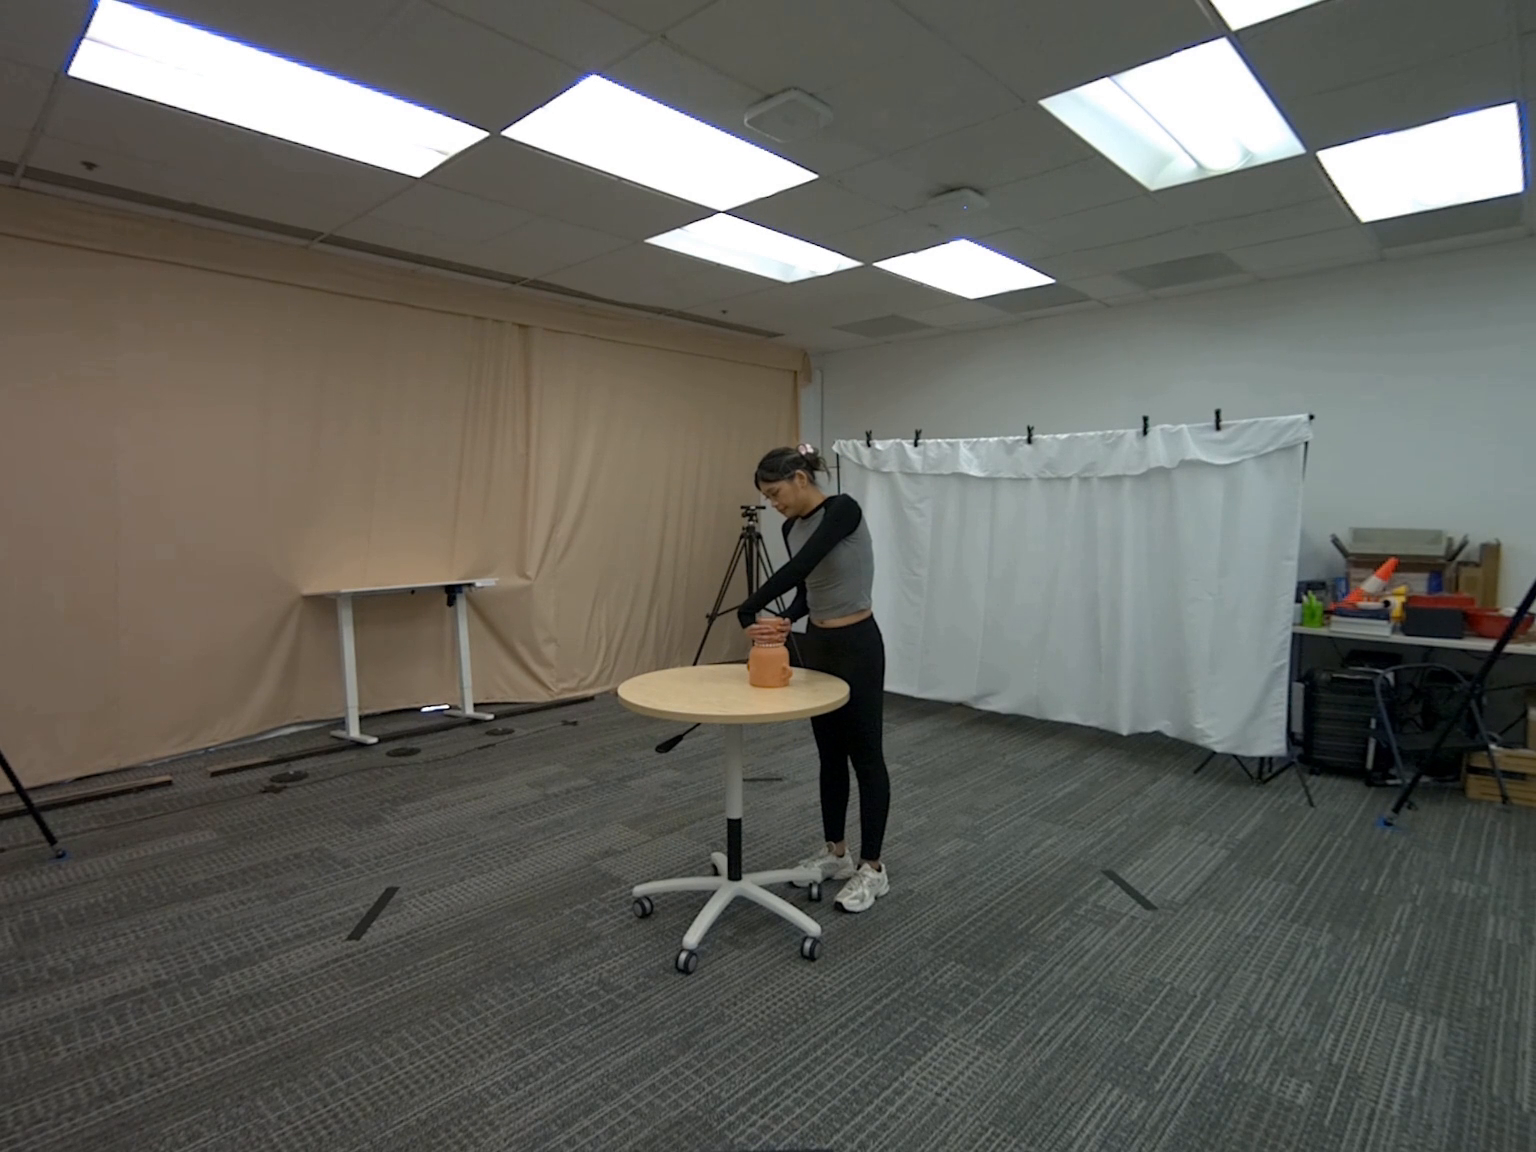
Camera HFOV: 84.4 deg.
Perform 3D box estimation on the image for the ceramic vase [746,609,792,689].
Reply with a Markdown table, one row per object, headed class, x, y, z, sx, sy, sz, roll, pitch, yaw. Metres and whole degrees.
| class | x | y | z | sx | sy | sz | roll | pitch | yaw |
| --- | --- | --- | --- | --- | --- | --- | --- | --- | --- |
| ceramic vase | 0.009 | 0.255 | 2.822 | 0.159 | 0.219 | 0.134 | -2 | 3 | 3 |
